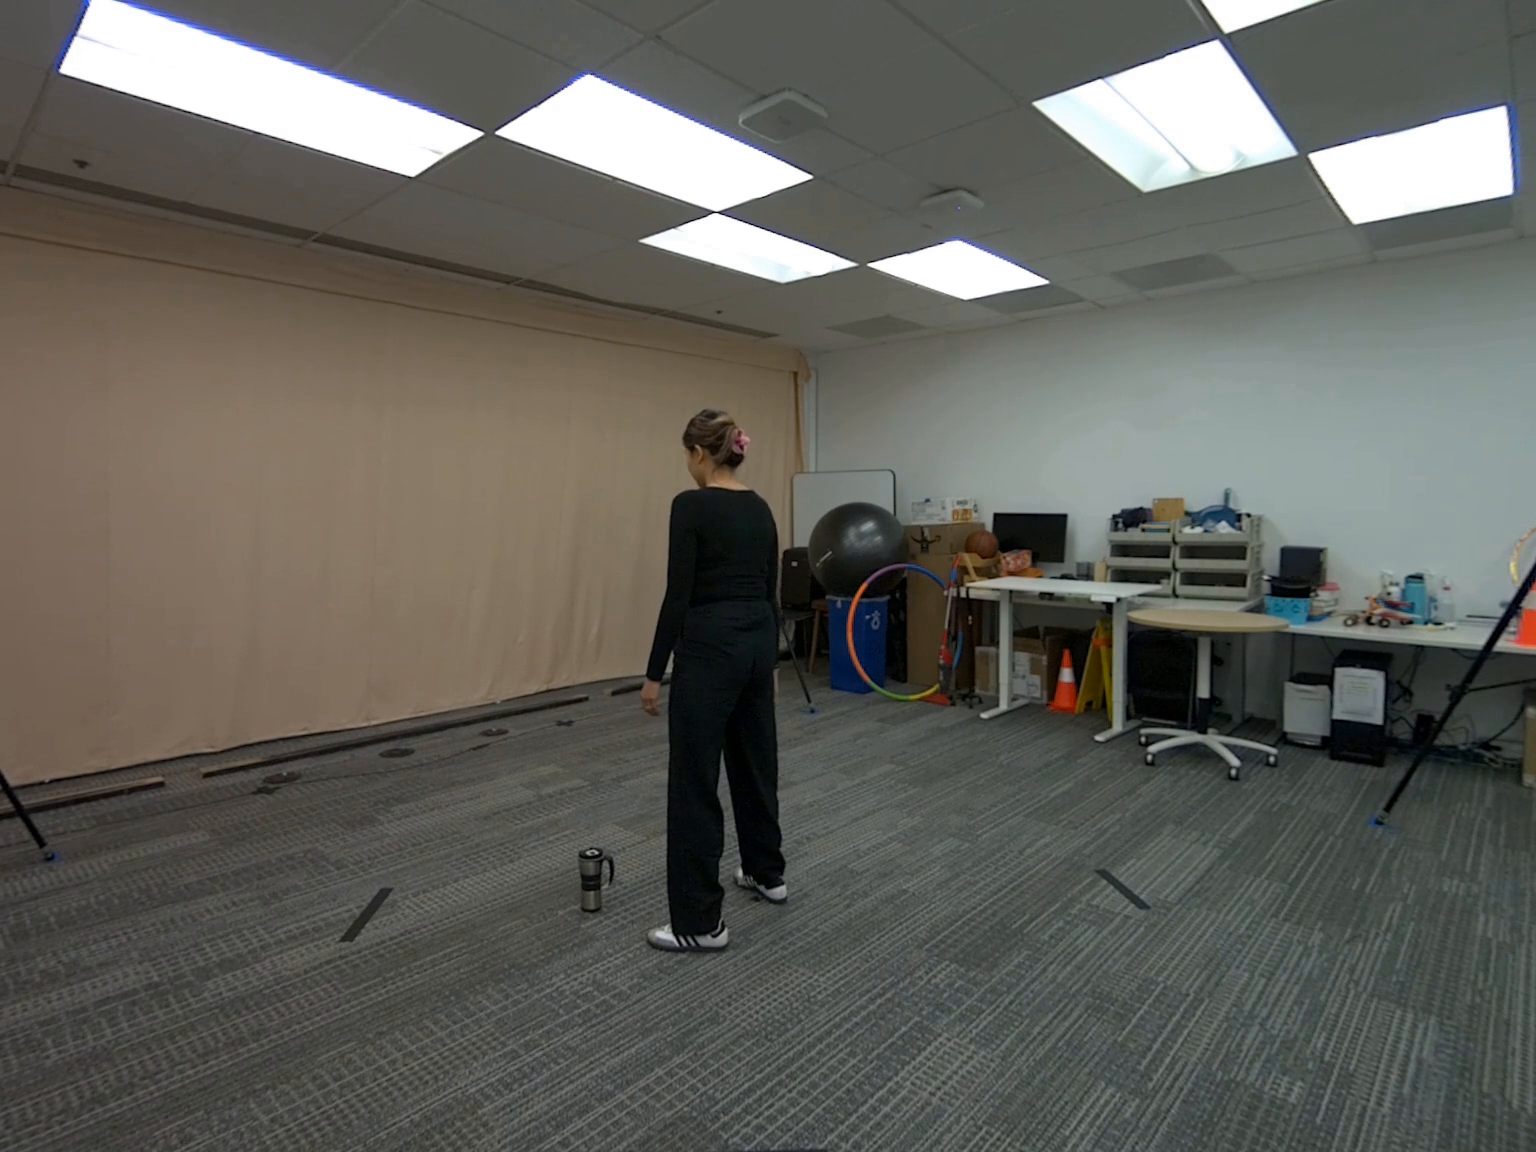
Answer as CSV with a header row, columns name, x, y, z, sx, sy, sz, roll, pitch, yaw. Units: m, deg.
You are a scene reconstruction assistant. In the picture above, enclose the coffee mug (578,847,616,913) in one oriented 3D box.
name,x,y,z,sx,sy,sz,roll,pitch,yaw
coffee mug,-0.598,1.061,2.905,0.126,0.203,0.085,-3,-3,42
